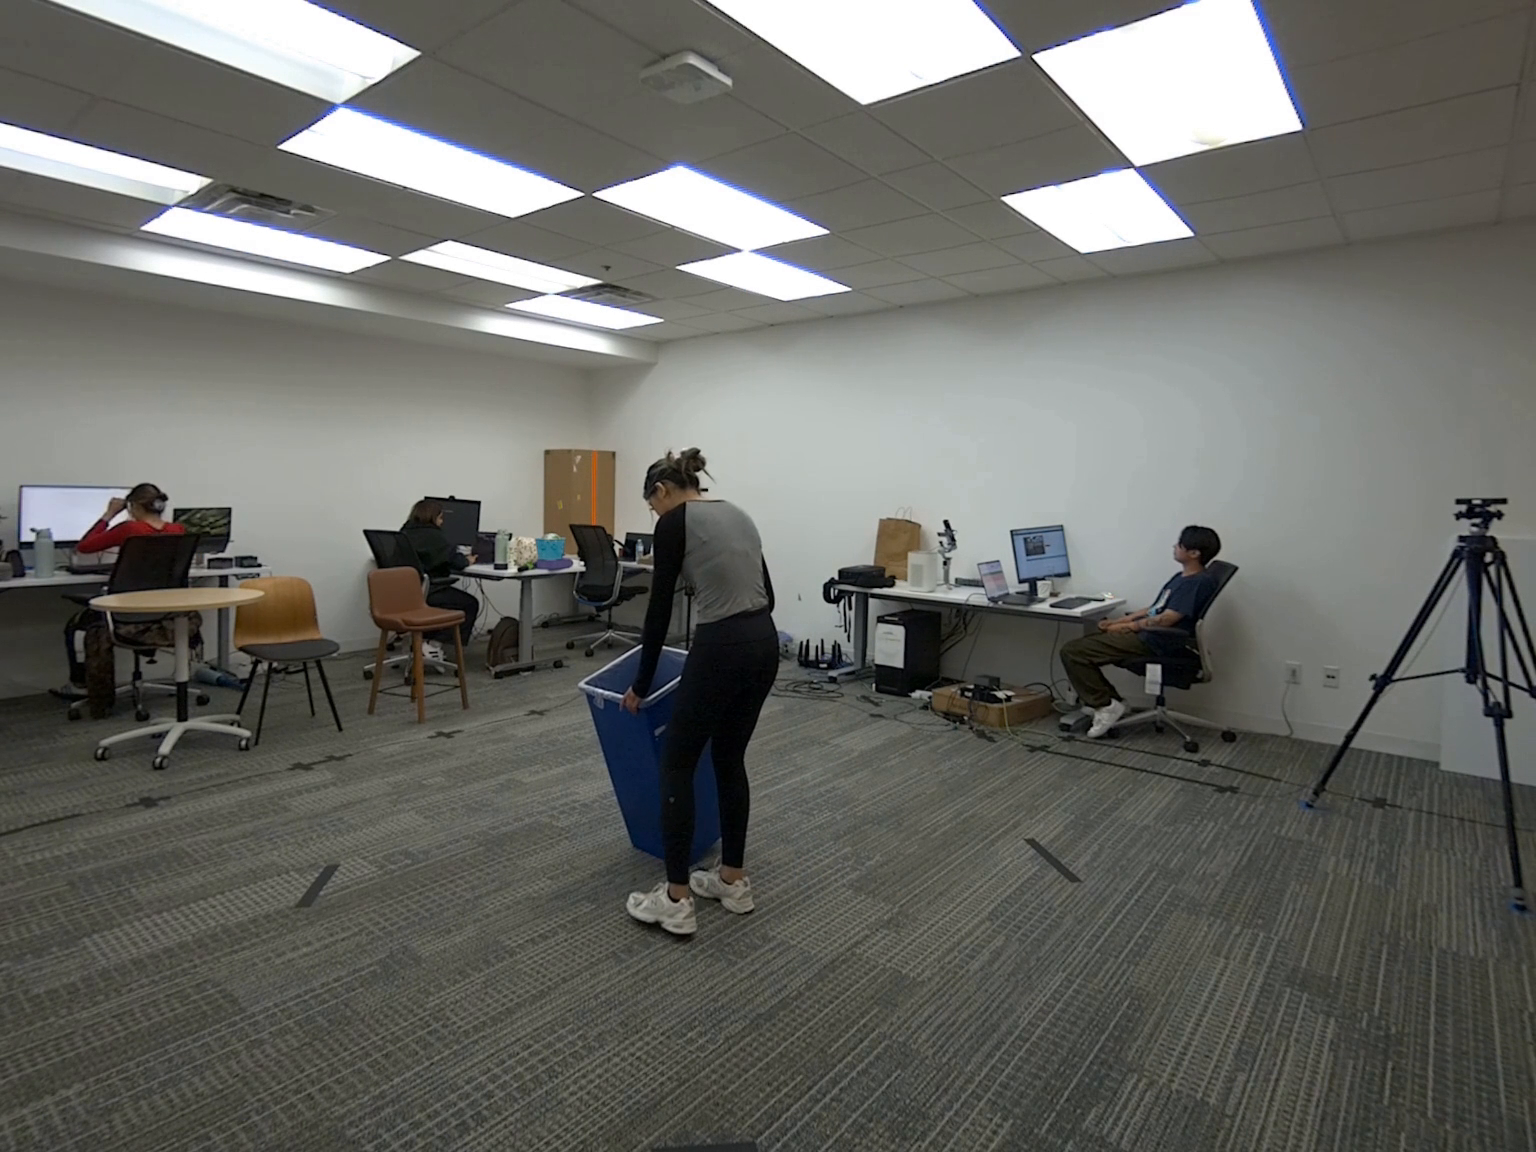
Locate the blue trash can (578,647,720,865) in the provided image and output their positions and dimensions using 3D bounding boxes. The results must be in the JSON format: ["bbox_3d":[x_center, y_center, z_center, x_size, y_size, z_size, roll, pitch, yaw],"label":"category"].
[{"bbox_3d":[-0.402,0.668,3.202,0.391,0.700,0.369,5,24,41],"label":"blue trash can"}]
